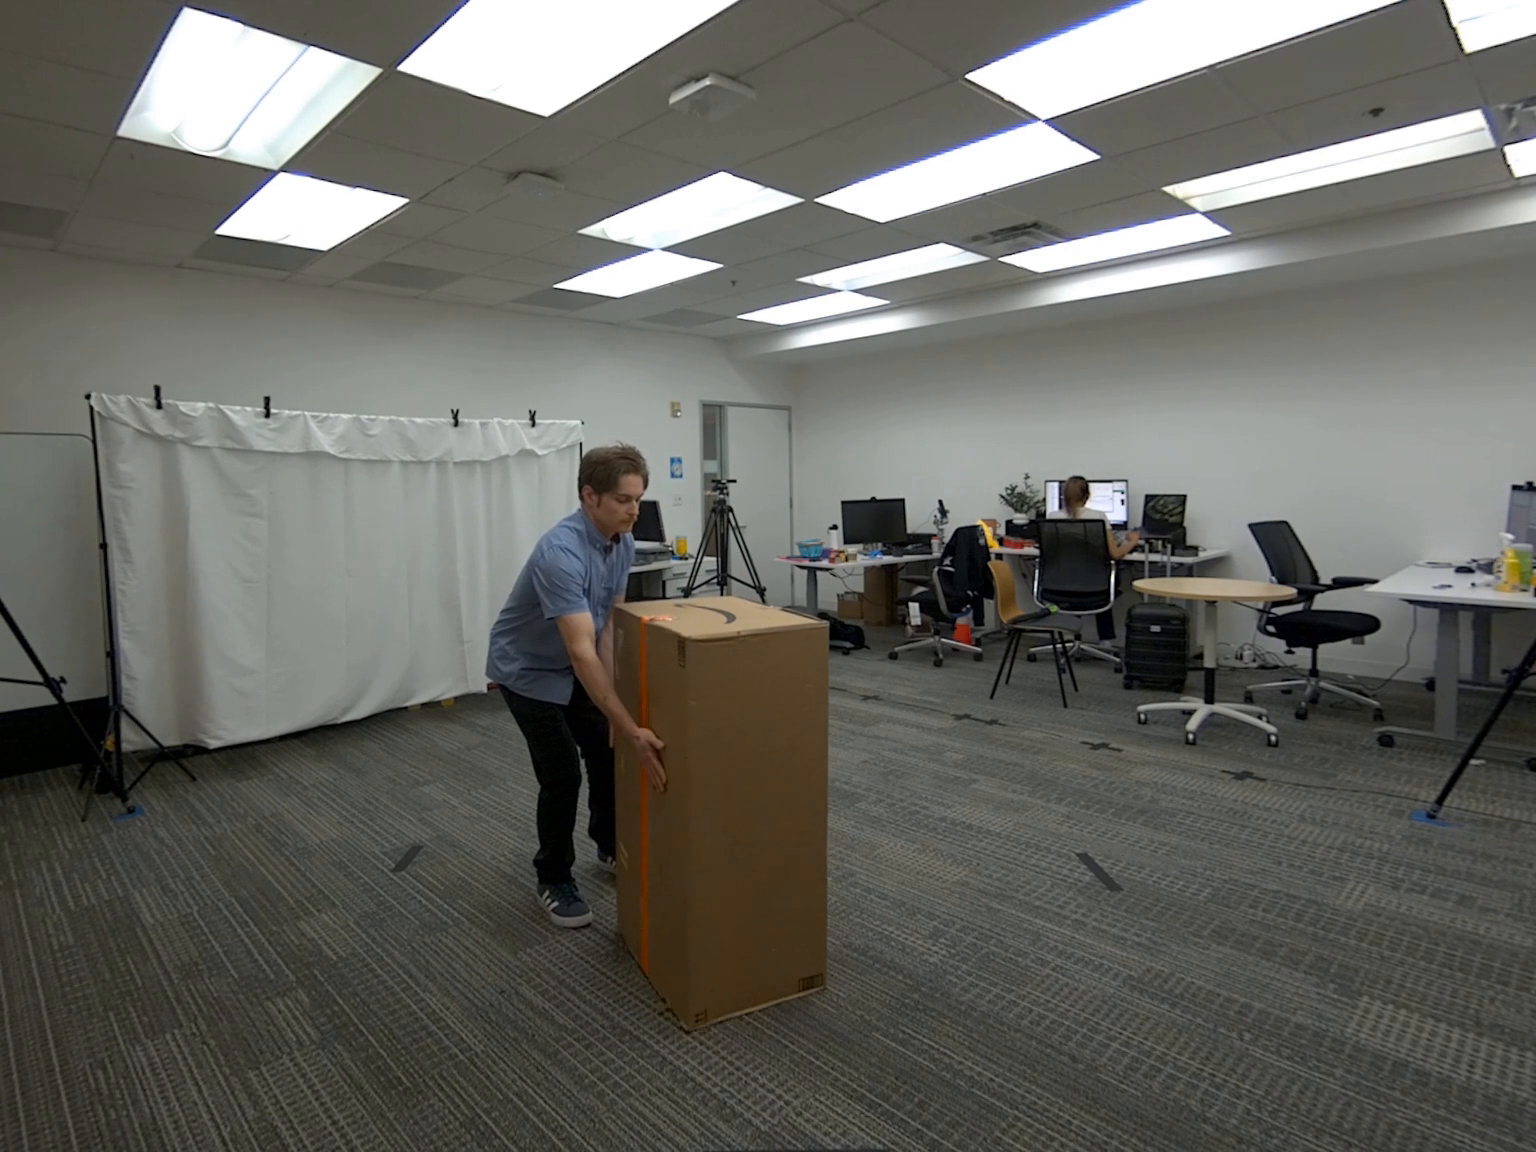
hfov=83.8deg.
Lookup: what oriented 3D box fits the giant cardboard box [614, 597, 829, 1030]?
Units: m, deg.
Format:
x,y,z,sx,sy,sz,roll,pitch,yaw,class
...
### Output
x,y,z,sx,sy,sz,roll,pitch,yaw,class
-0.150,0.617,2.466,0.417,1.022,0.593,-2,5,-27,giant cardboard box
